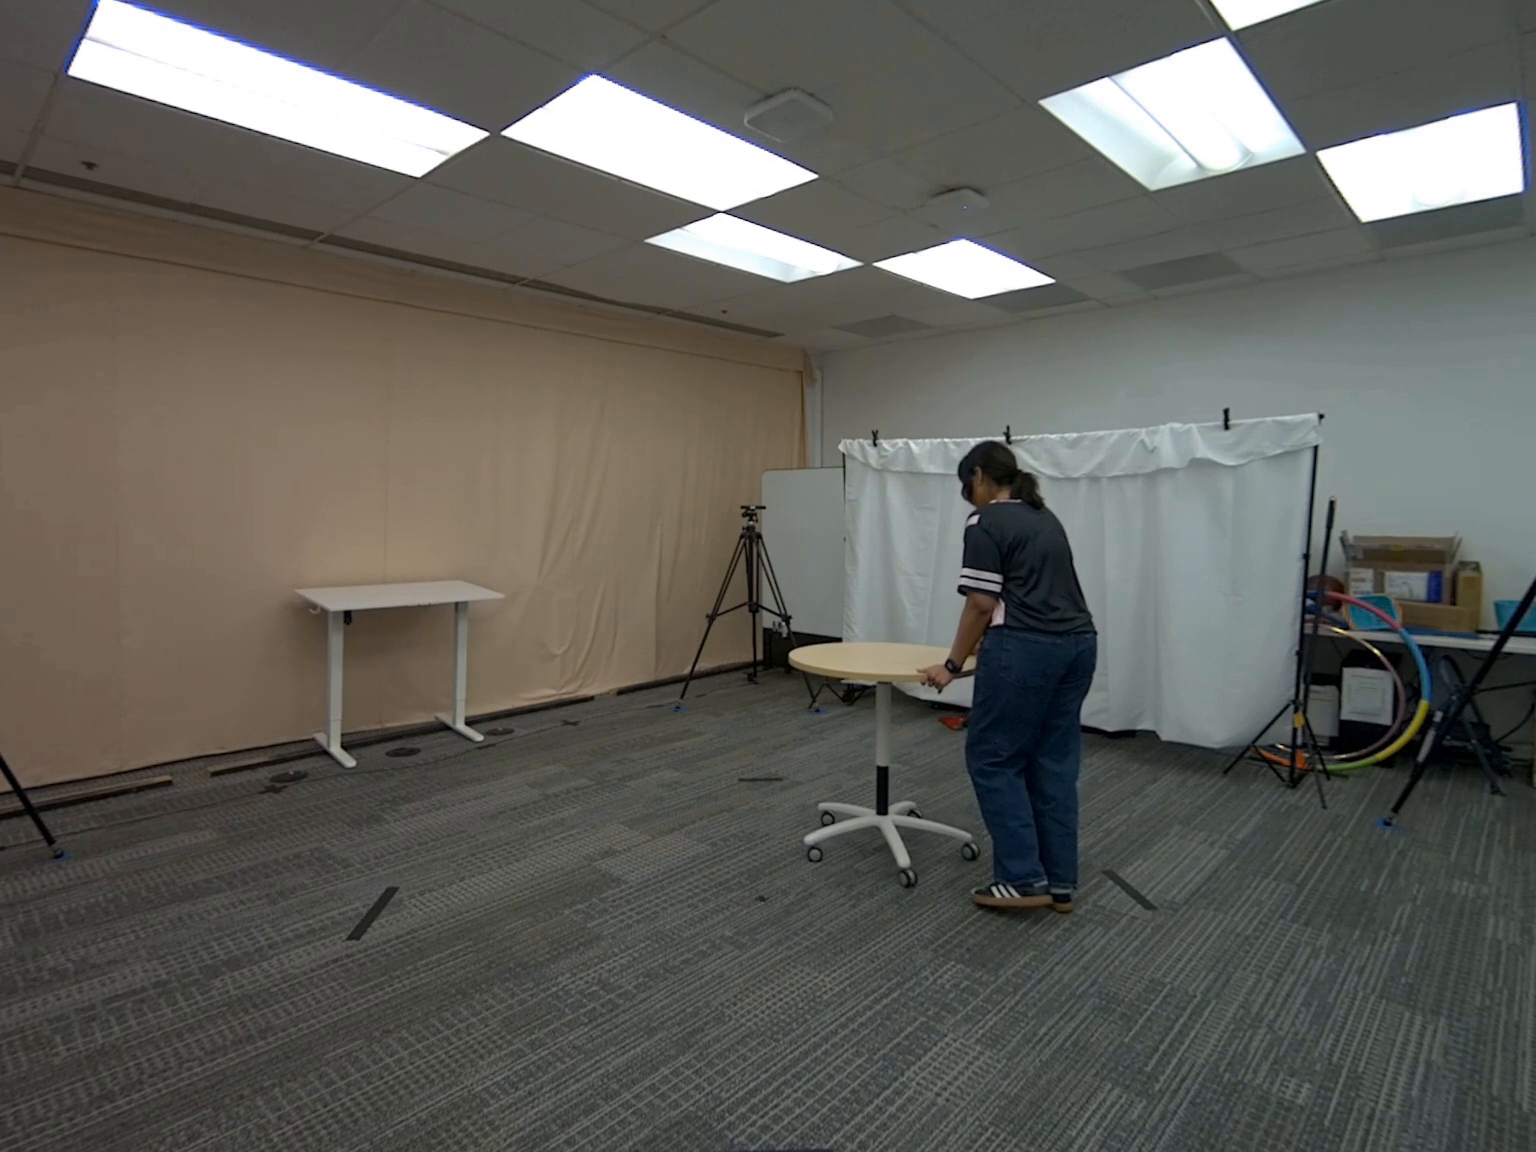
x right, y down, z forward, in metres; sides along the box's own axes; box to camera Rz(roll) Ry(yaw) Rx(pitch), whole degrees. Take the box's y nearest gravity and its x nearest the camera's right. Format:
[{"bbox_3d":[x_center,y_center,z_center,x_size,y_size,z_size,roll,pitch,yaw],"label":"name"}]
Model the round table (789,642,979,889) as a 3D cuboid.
[{"bbox_3d":[0.465,0.713,3.393,0.784,0.785,0.787,0,3,-2],"label":"round table"}]
